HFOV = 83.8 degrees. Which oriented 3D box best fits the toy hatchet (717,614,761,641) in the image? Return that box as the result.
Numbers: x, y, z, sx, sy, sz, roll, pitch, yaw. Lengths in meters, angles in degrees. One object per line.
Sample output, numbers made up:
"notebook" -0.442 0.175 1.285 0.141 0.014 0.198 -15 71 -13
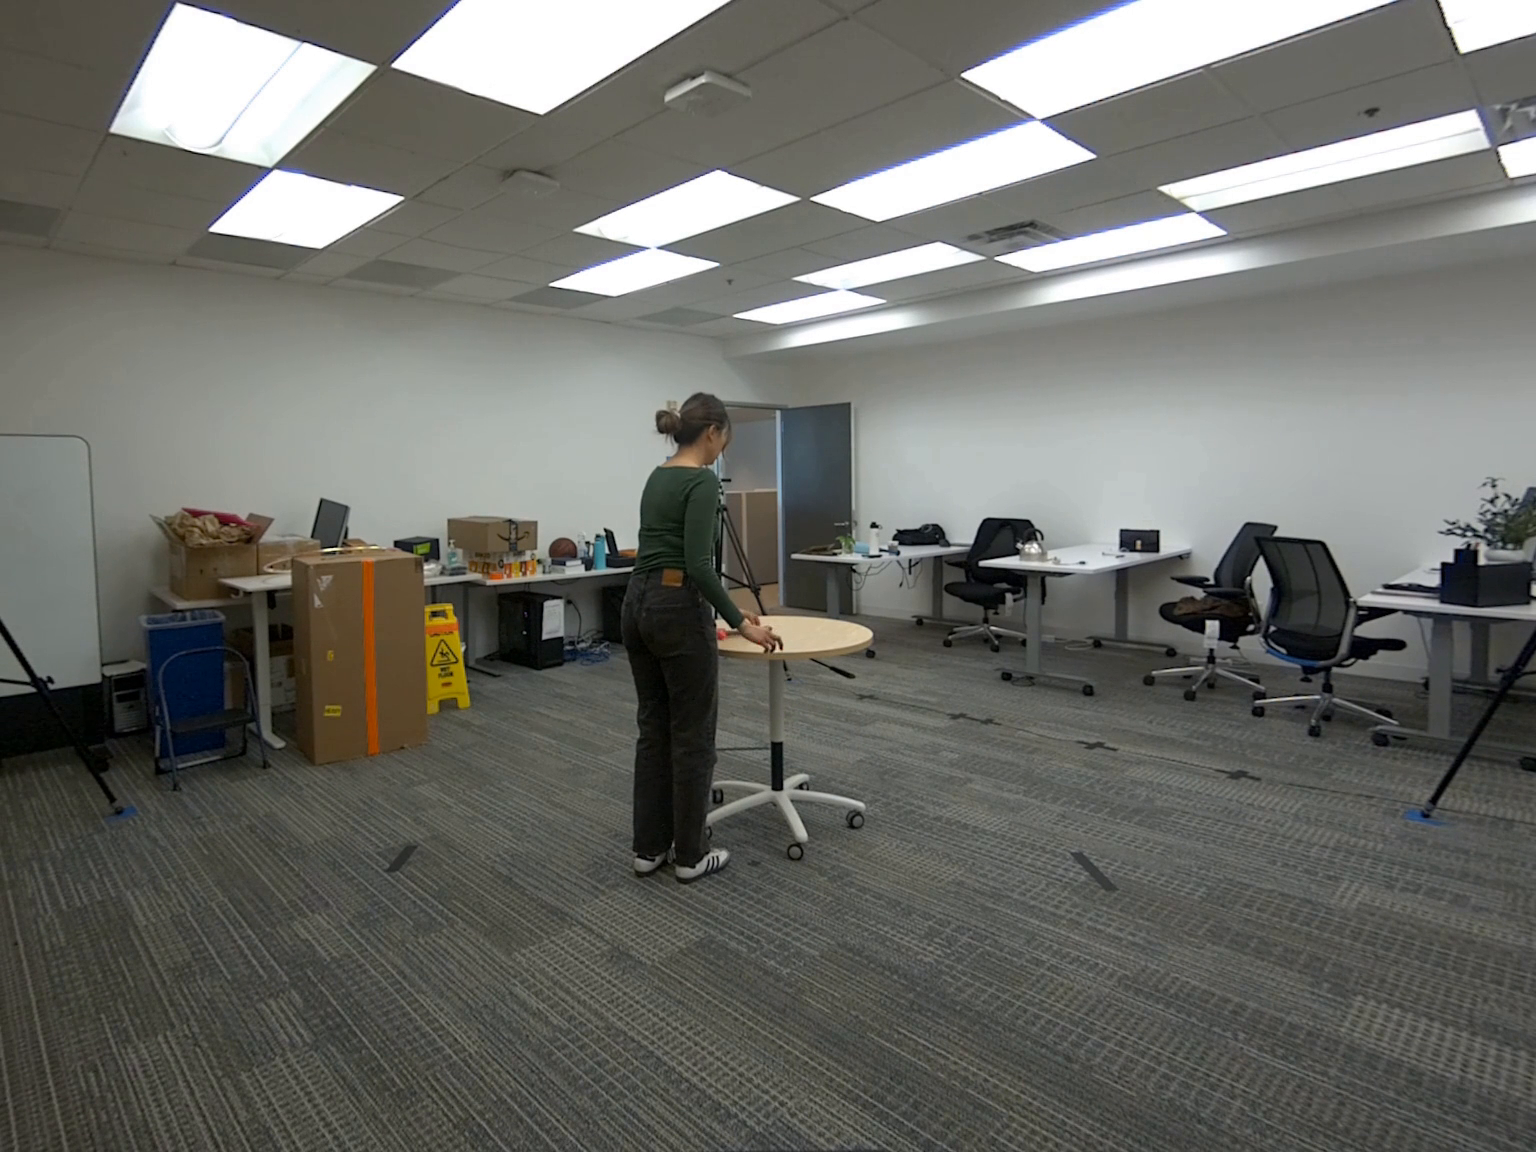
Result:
"toy hatchet" -0.104 0.218 3.386 0.135 0.029 0.263 5 7 44
